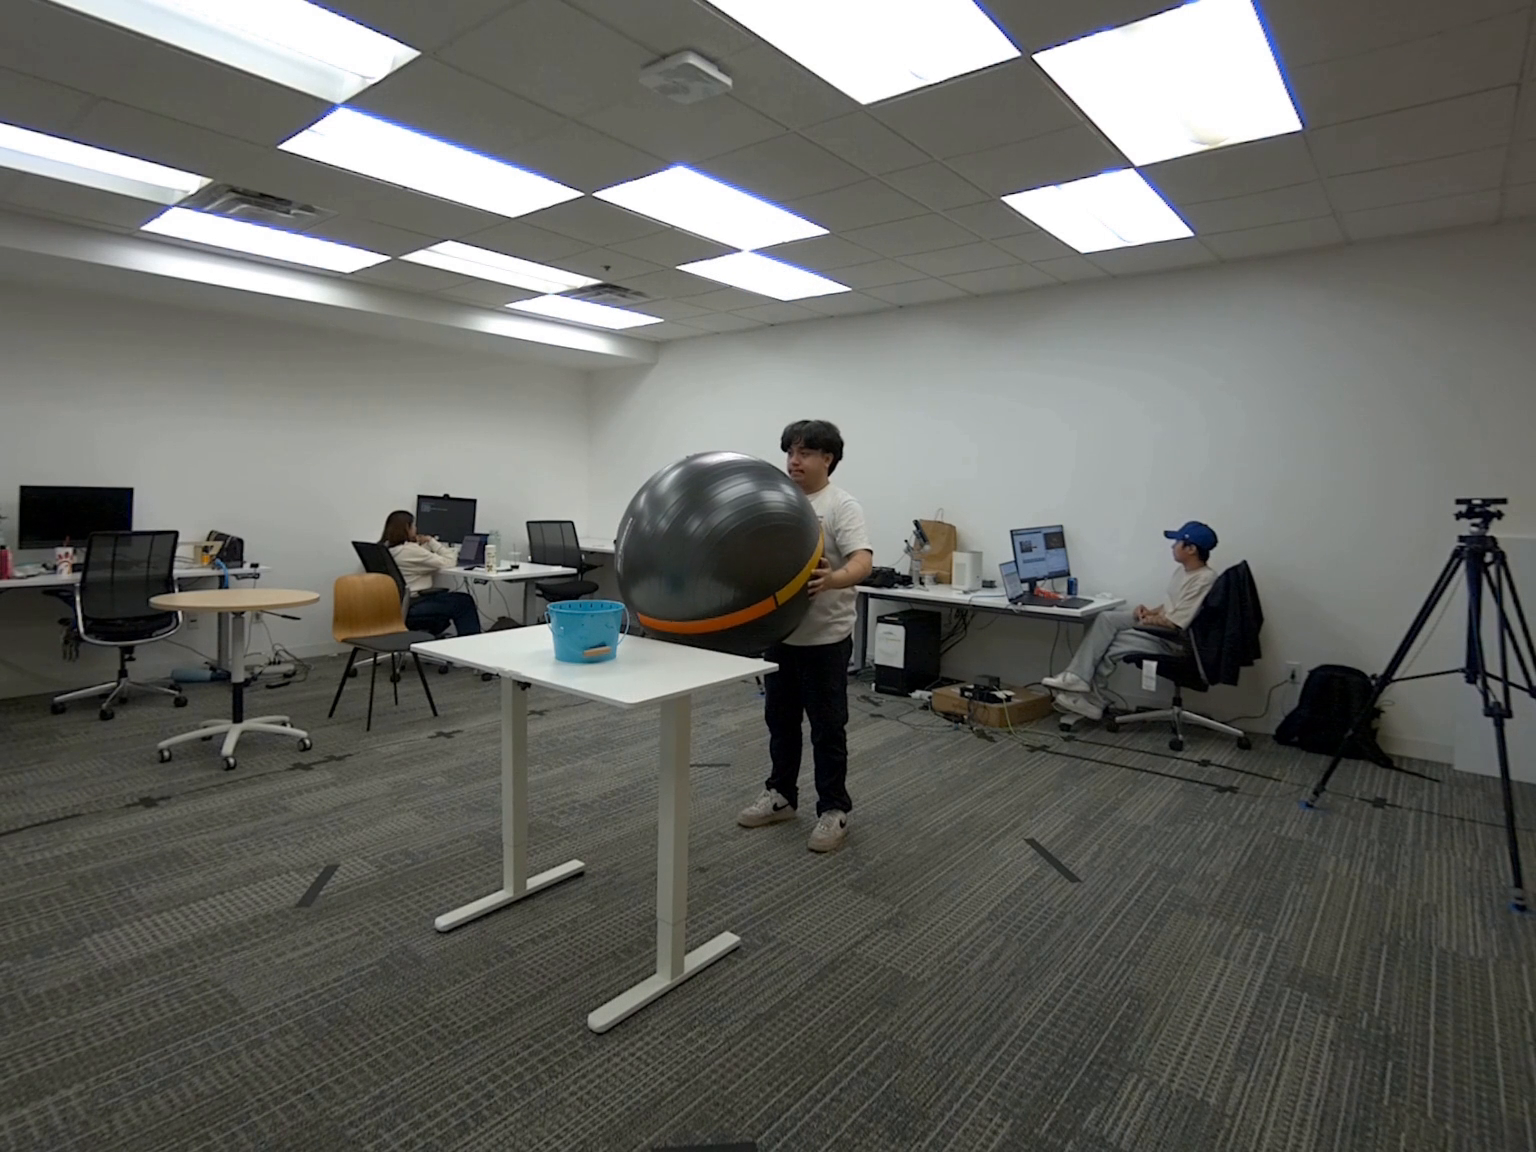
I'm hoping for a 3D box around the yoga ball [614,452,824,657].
[{"bbox_3d":[-0.188,-0.075,3.082,0.757,0.755,0.762,1,4,-2],"label":"yoga ball"}]
